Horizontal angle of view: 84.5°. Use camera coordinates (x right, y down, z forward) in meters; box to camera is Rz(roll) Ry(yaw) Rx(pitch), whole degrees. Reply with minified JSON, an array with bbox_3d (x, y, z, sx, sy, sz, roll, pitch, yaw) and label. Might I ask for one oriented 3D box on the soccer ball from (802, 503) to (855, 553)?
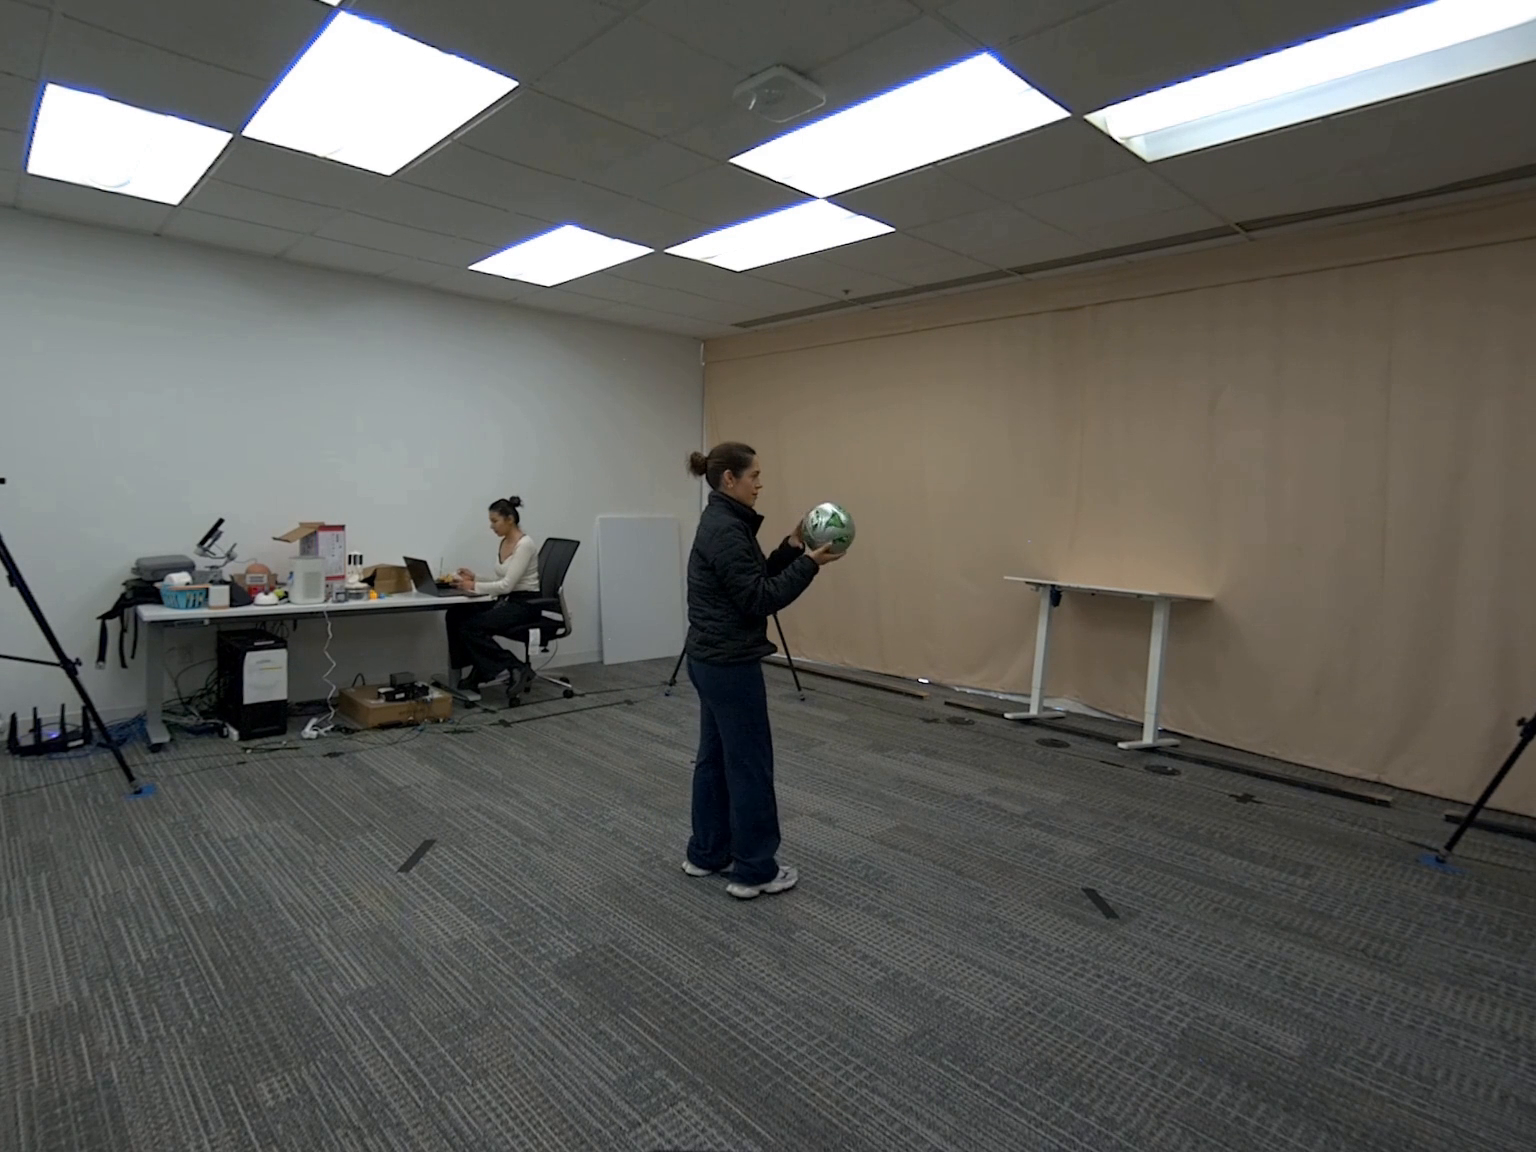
[{"bbox_3d":[0.202,-0.168,2.970,0.187,0.187,0.188,1,4,-1],"label":"soccer ball"}]
